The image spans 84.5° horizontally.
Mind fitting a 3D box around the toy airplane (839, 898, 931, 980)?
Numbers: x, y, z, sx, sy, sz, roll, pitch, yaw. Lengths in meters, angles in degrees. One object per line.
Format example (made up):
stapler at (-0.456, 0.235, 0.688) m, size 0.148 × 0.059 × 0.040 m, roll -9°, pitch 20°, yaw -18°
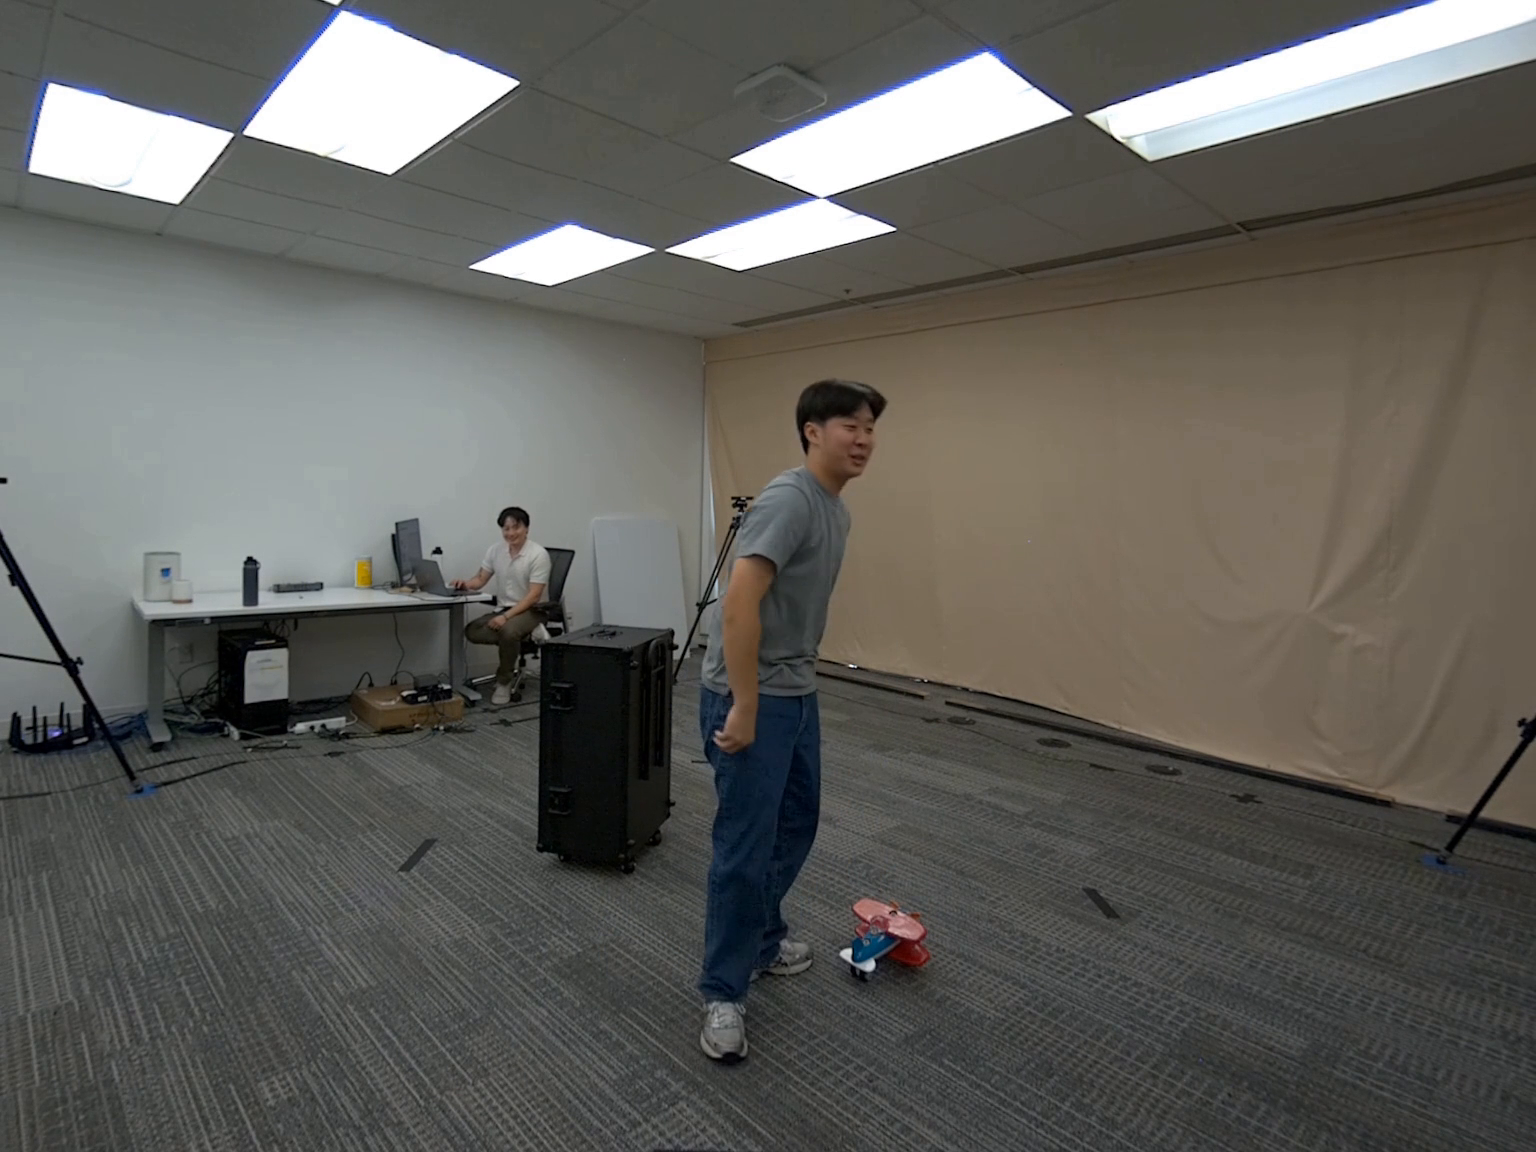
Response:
toy airplane at (0.350, 1.101, 2.503) m, size 0.255 × 0.156 × 0.255 m, roll 3°, pitch 4°, yaw 20°
